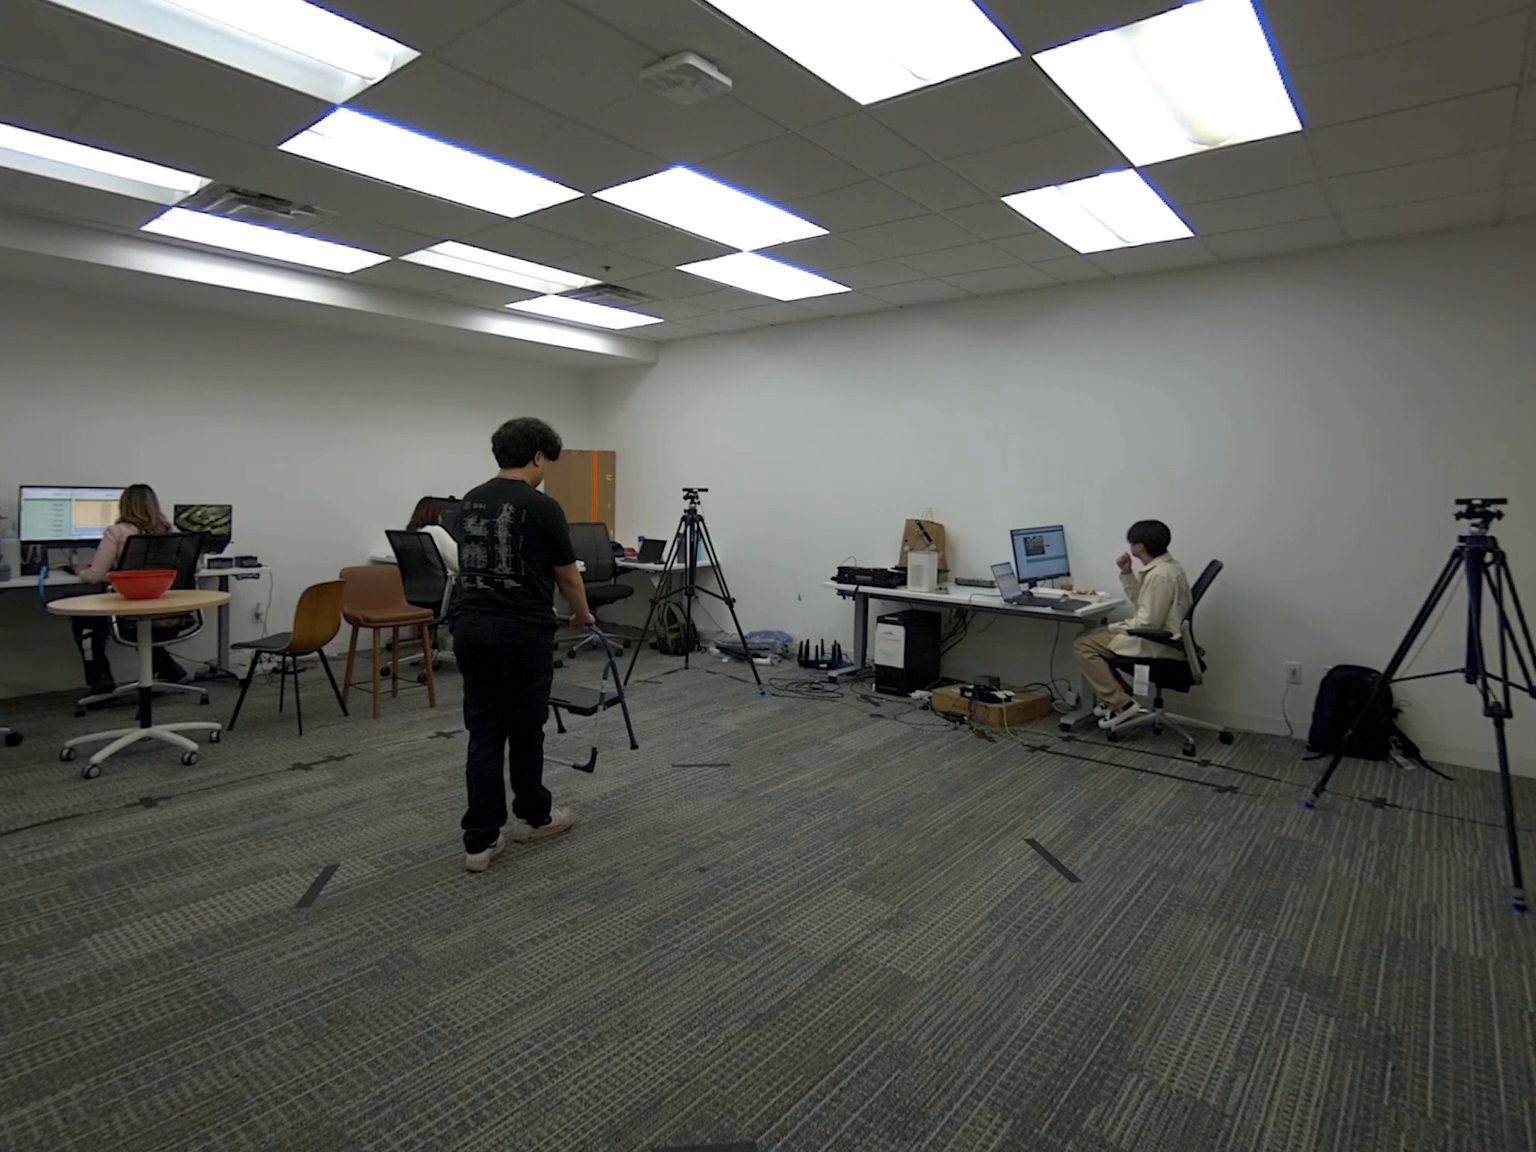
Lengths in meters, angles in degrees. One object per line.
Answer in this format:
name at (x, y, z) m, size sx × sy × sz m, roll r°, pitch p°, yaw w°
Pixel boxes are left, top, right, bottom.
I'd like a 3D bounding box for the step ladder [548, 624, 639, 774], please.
step ladder at (-0.837, 0.459, 3.632) m, size 0.442 × 0.602 × 0.342 m, roll 5°, pitch 7°, yaw 26°
